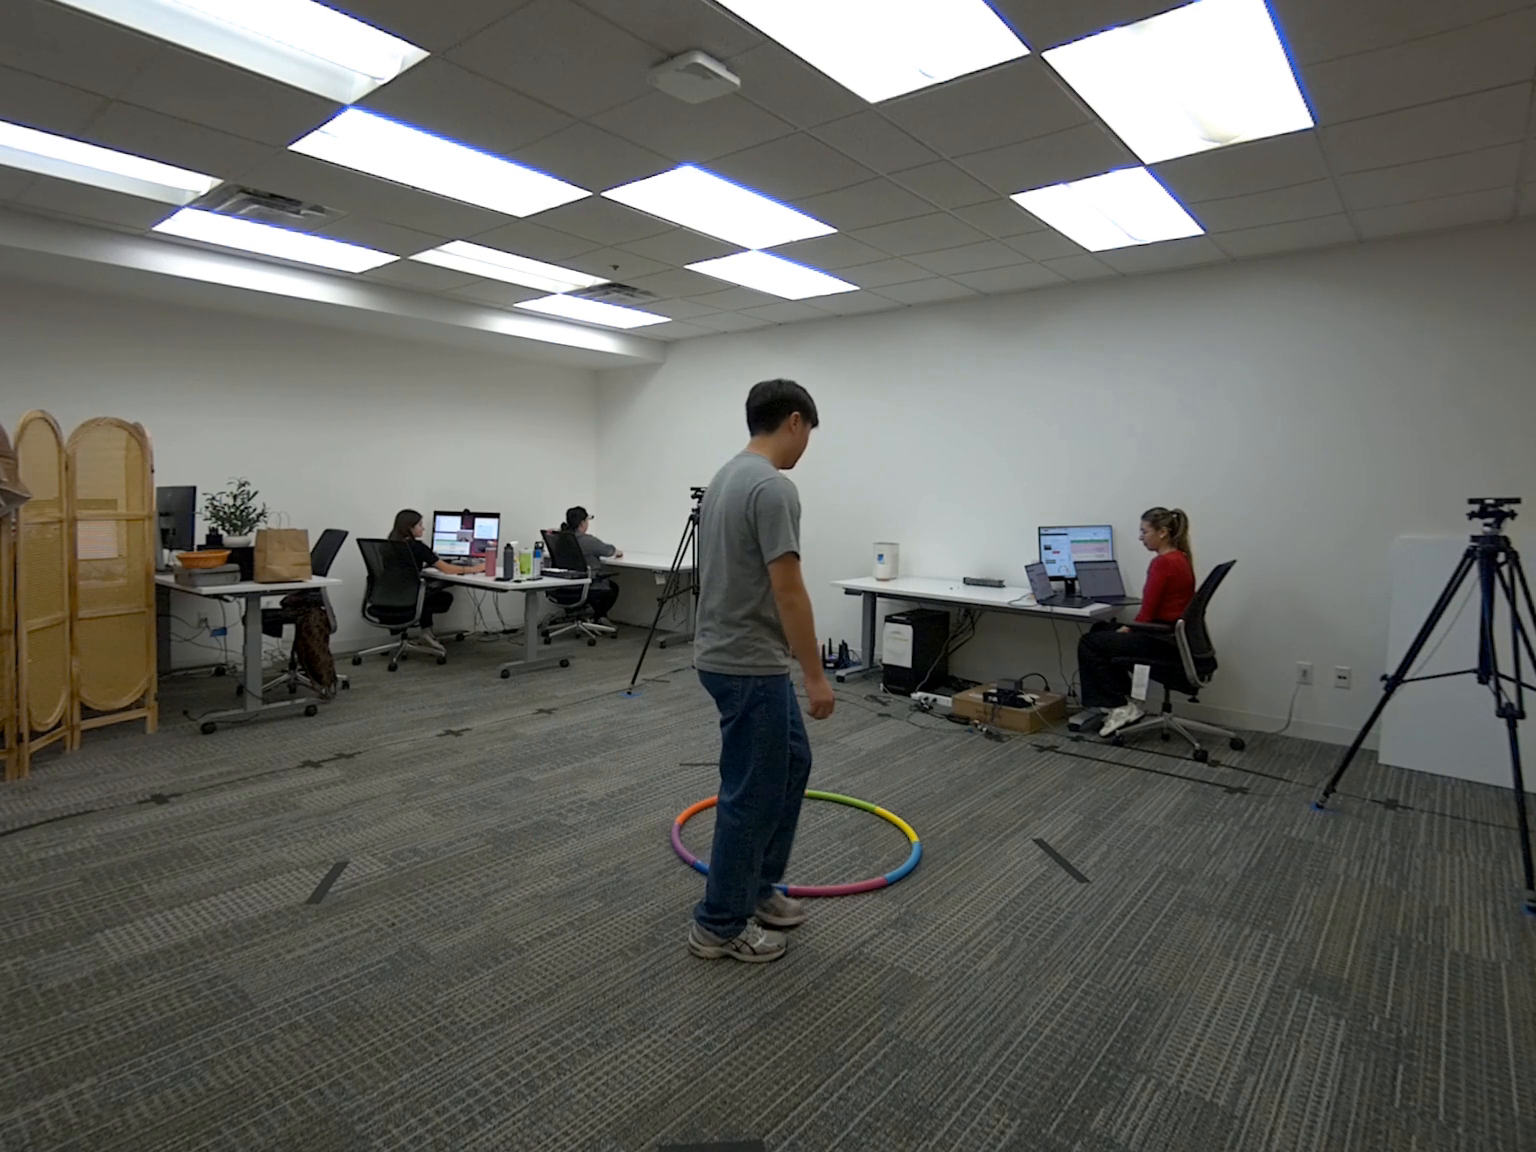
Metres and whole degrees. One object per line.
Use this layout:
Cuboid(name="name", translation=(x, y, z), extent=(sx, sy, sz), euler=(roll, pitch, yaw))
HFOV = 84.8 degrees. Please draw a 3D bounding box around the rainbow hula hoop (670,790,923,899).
Cuboid(name="rainbow hula hoop", translation=(0.095, 1.016, 3.377), extent=(0.978, 0.035, 0.984), euler=(1, 6, -2))
